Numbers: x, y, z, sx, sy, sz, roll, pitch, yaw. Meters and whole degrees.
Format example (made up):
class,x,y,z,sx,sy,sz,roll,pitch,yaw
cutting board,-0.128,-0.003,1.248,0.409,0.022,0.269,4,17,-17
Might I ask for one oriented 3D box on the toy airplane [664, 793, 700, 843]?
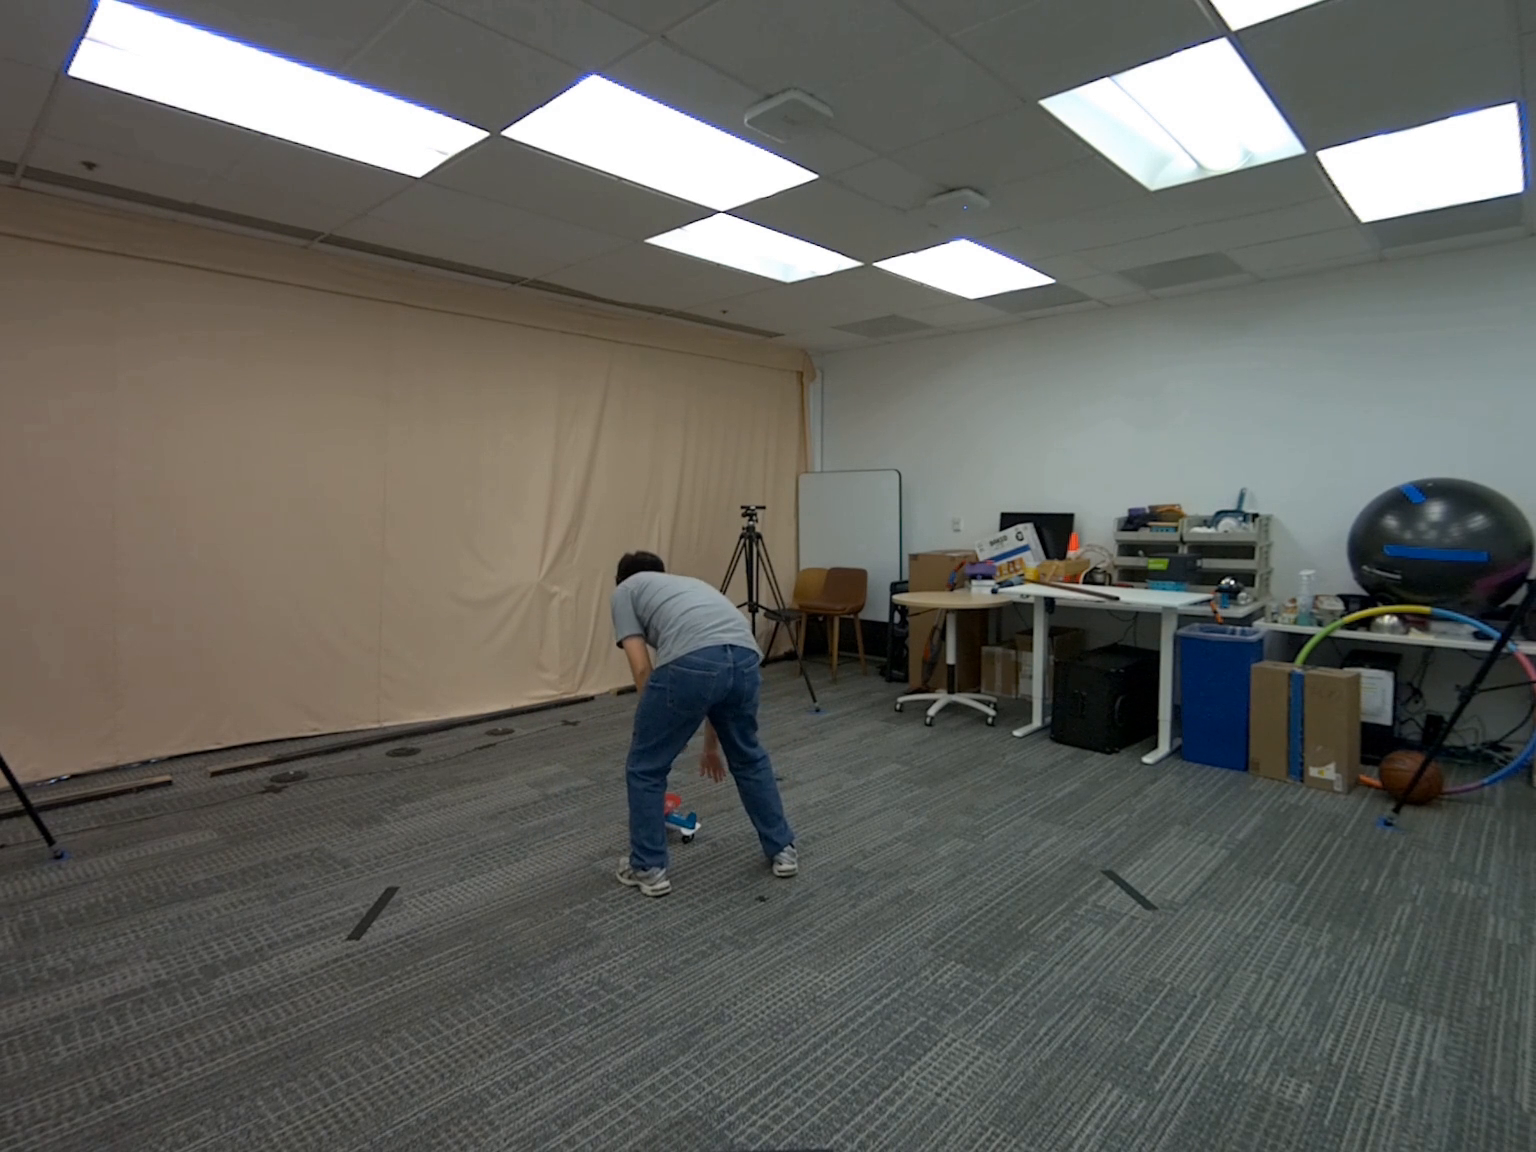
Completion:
class,x,y,z,sx,sy,sz,roll,pitch,yaw
toy airplane,-0.413,1.026,3.547,0.258,0.156,0.253,-2,4,-5
